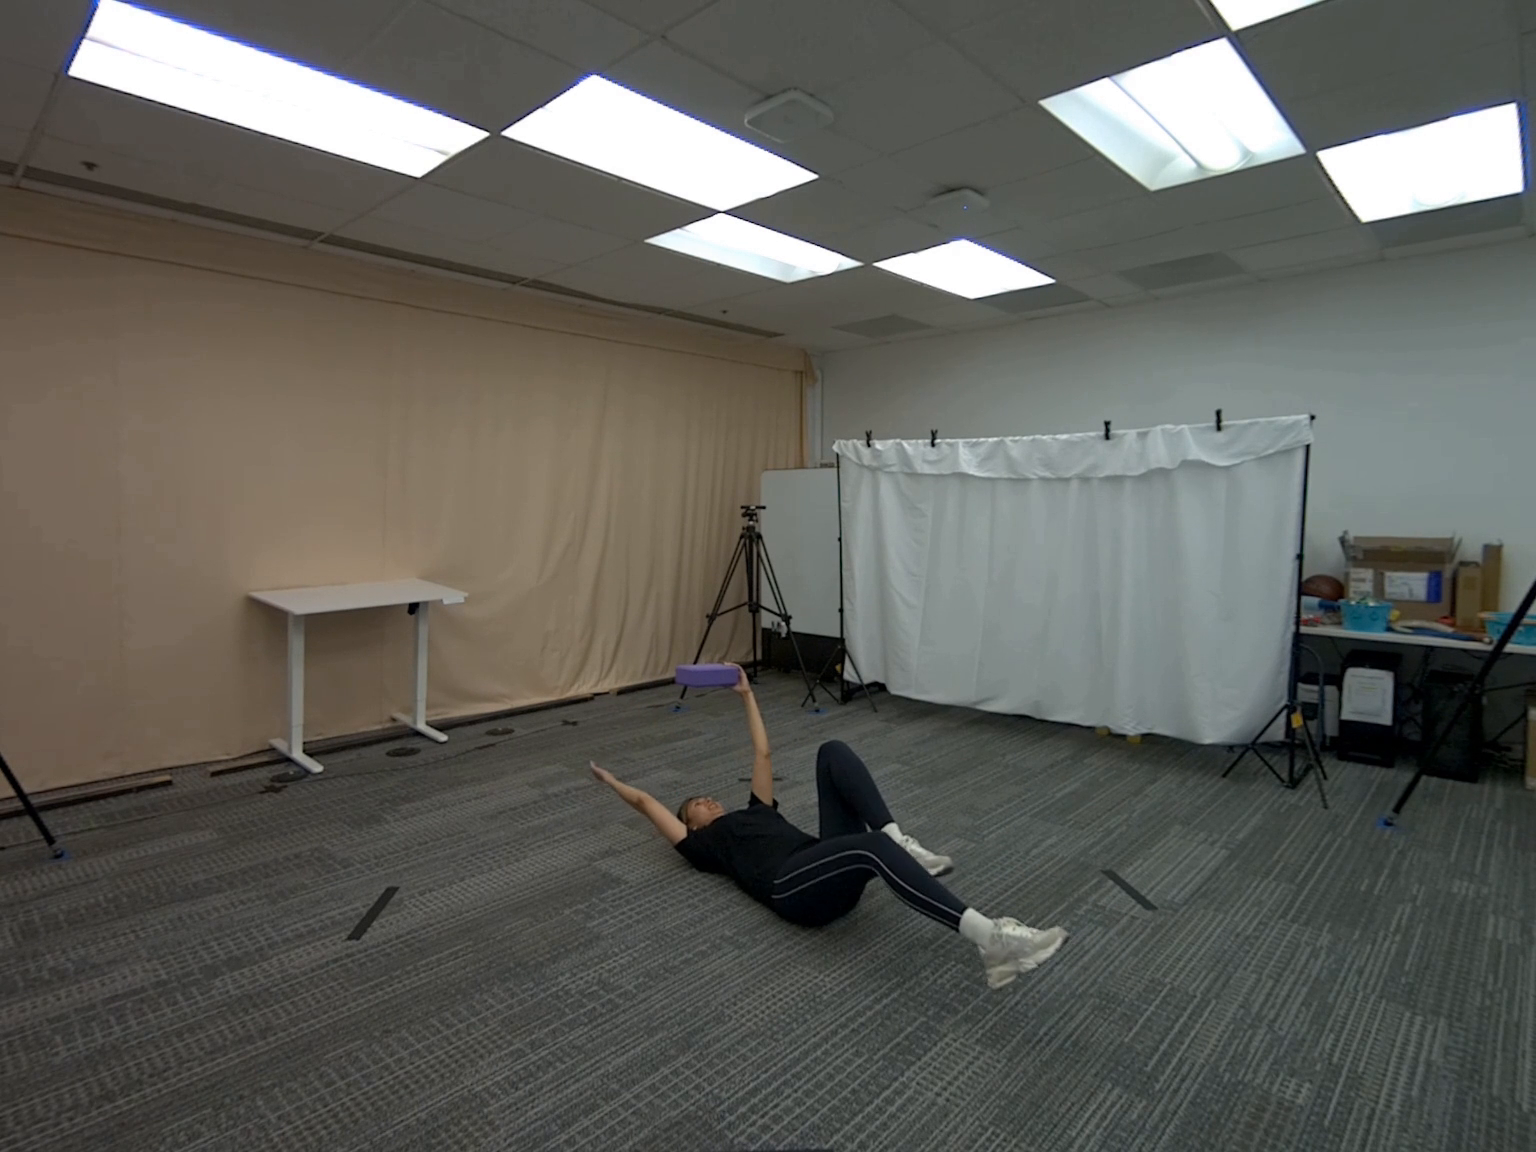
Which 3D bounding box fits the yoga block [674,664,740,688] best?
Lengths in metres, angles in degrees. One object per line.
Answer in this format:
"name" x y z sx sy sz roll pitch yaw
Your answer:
"yoga block" -0.255 0.415 3.528 0.222 0.076 0.153 2 -1 -35
